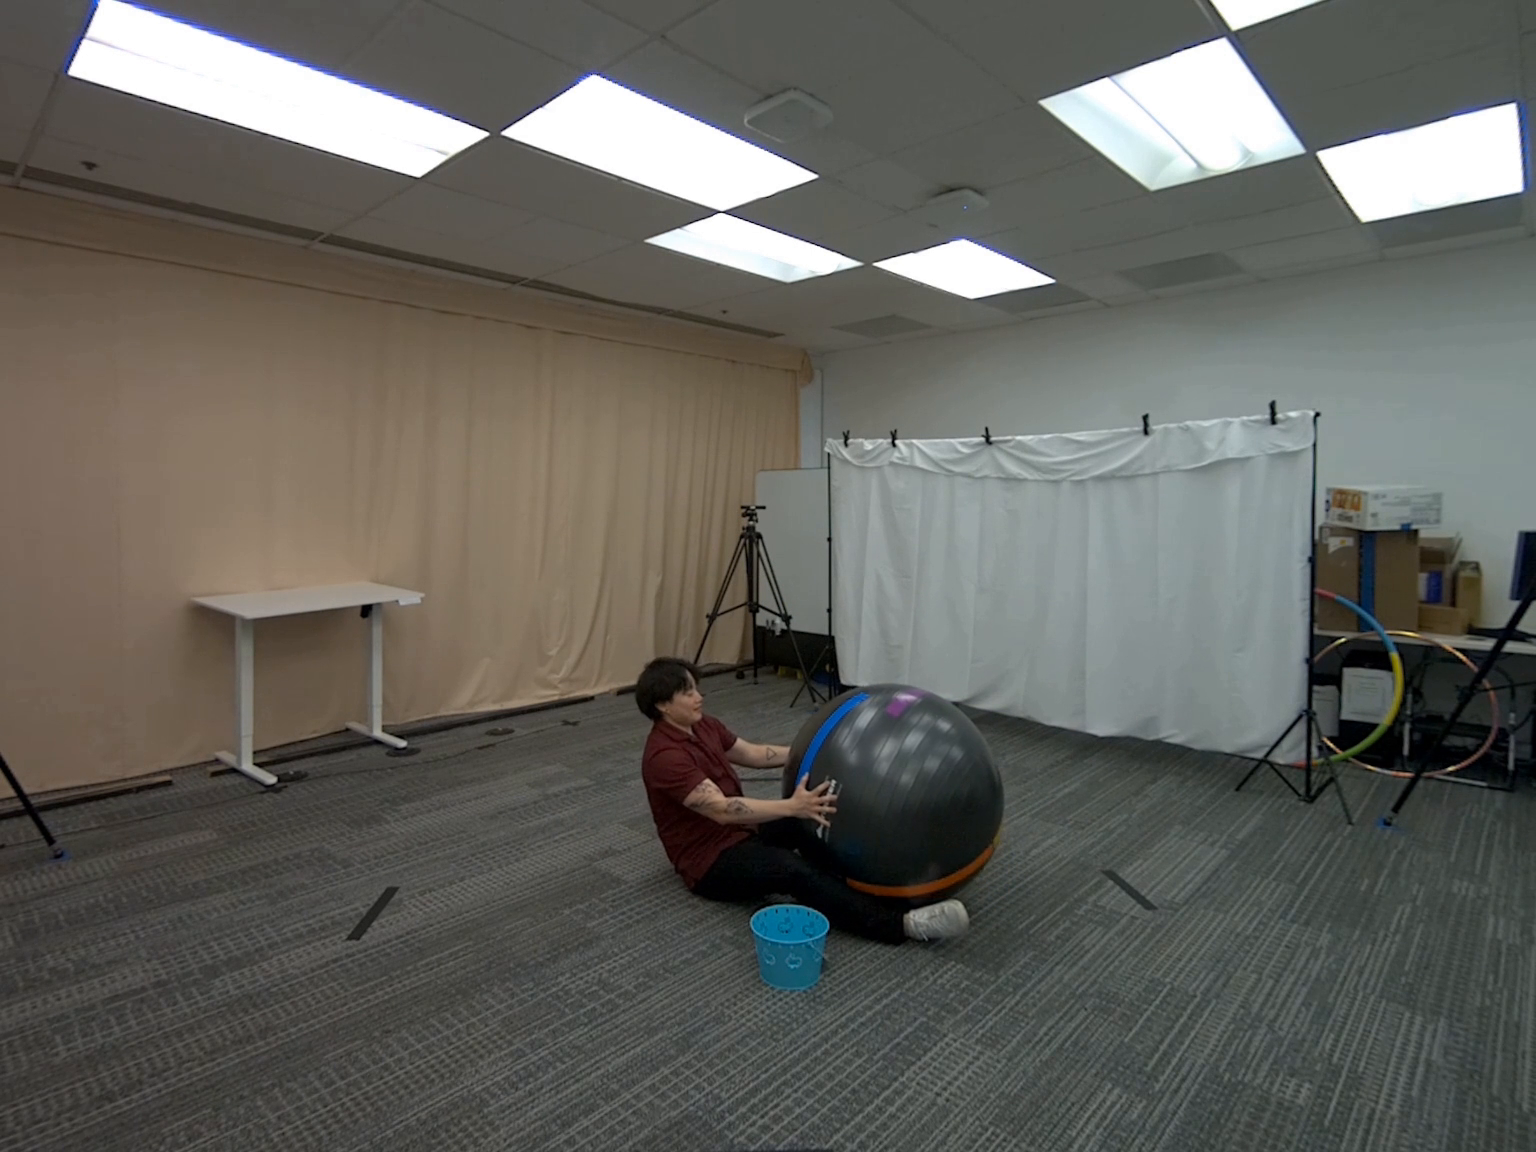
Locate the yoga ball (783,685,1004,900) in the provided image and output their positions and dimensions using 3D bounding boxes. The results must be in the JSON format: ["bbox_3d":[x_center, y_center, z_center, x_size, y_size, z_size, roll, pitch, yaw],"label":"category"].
[{"bbox_3d":[0.446,0.766,2.972,0.757,0.756,0.760,0,4,-2],"label":"yoga ball"}]
